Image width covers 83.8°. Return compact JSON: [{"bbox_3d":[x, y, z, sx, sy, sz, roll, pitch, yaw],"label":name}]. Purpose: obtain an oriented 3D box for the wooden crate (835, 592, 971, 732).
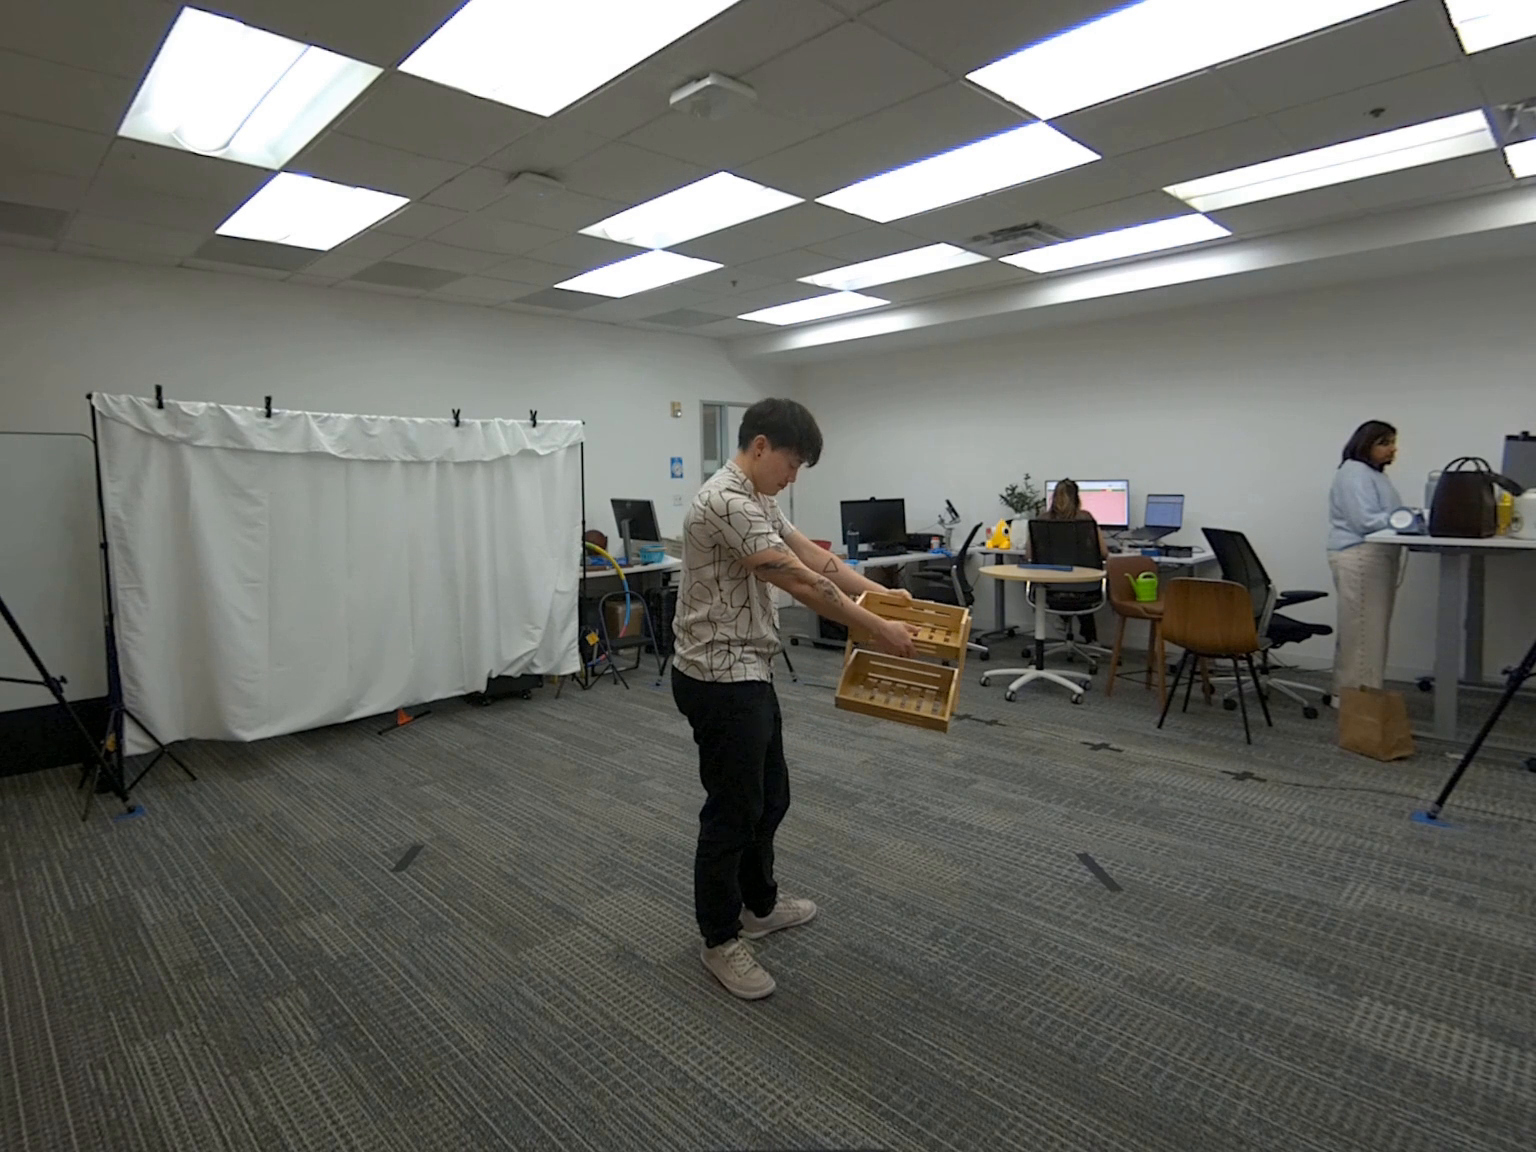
[{"bbox_3d":[0.379,0.229,2.365,0.330,0.270,0.300,8,16,16],"label":"wooden crate"}]
